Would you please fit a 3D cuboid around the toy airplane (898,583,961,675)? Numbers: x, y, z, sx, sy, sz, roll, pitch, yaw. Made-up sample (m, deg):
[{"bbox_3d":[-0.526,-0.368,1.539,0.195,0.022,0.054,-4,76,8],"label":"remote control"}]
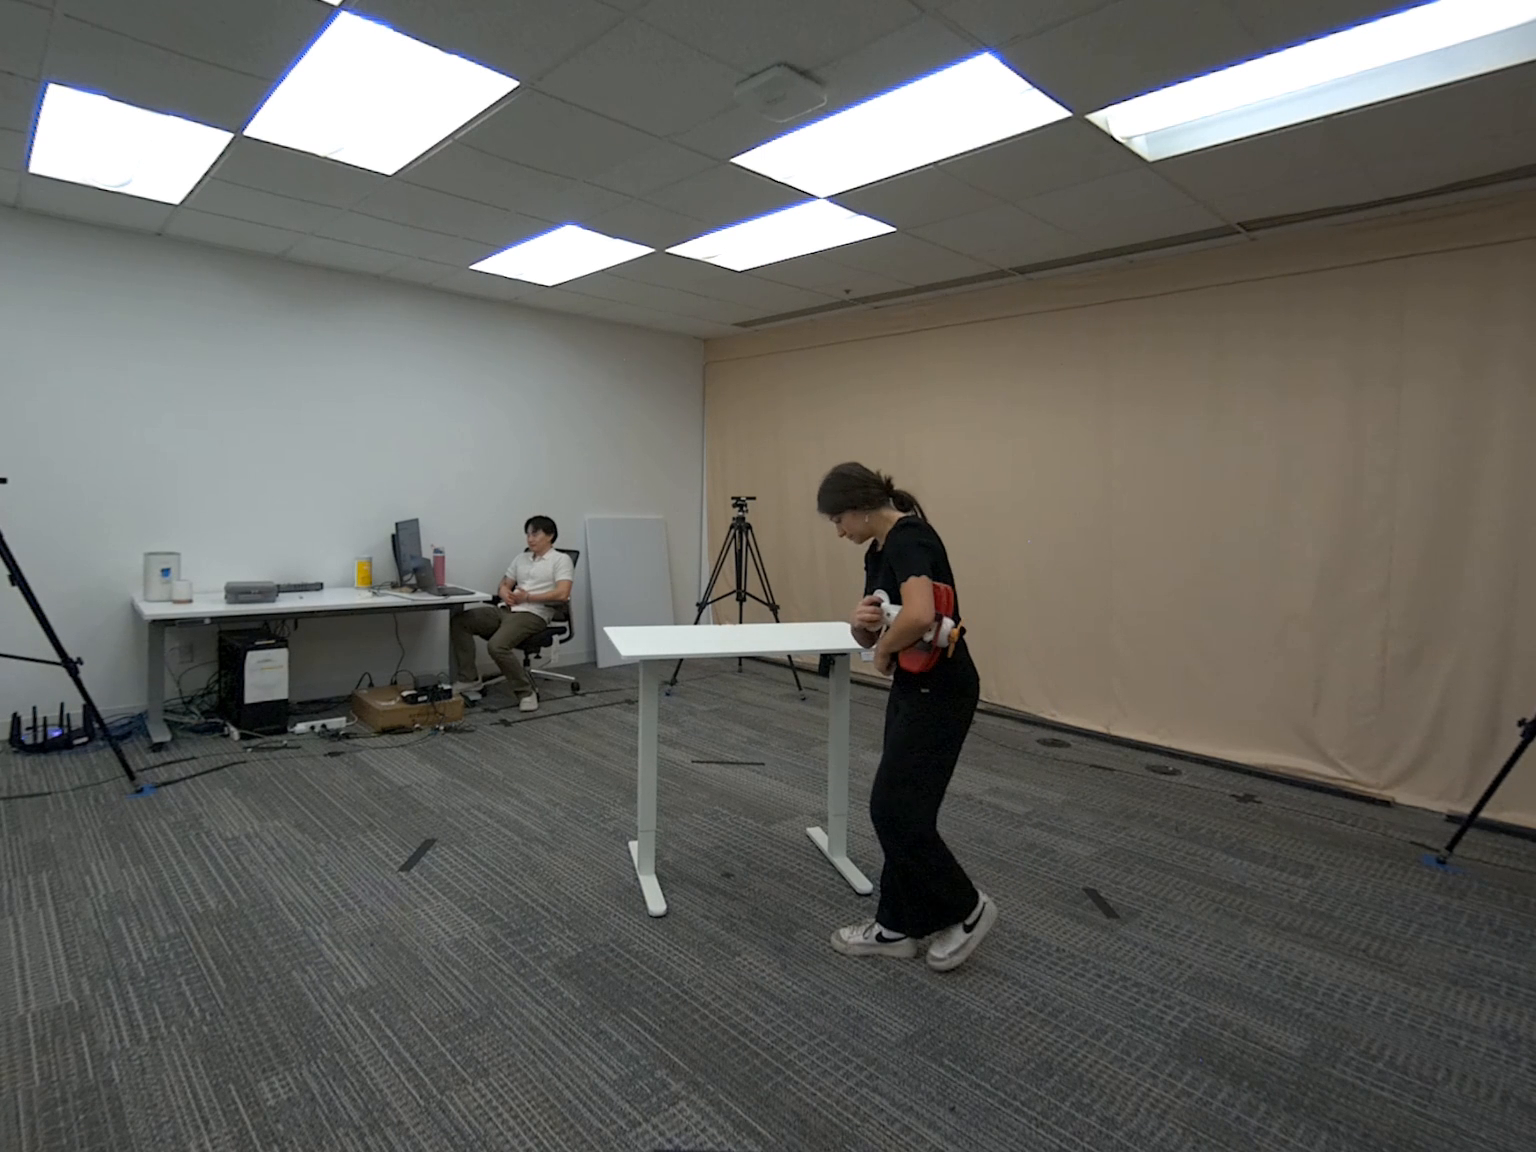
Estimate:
[{"bbox_3d":[0.401,0.115,2.356,0.152,0.251,0.267,15,30,-50],"label":"toy airplane"}]
